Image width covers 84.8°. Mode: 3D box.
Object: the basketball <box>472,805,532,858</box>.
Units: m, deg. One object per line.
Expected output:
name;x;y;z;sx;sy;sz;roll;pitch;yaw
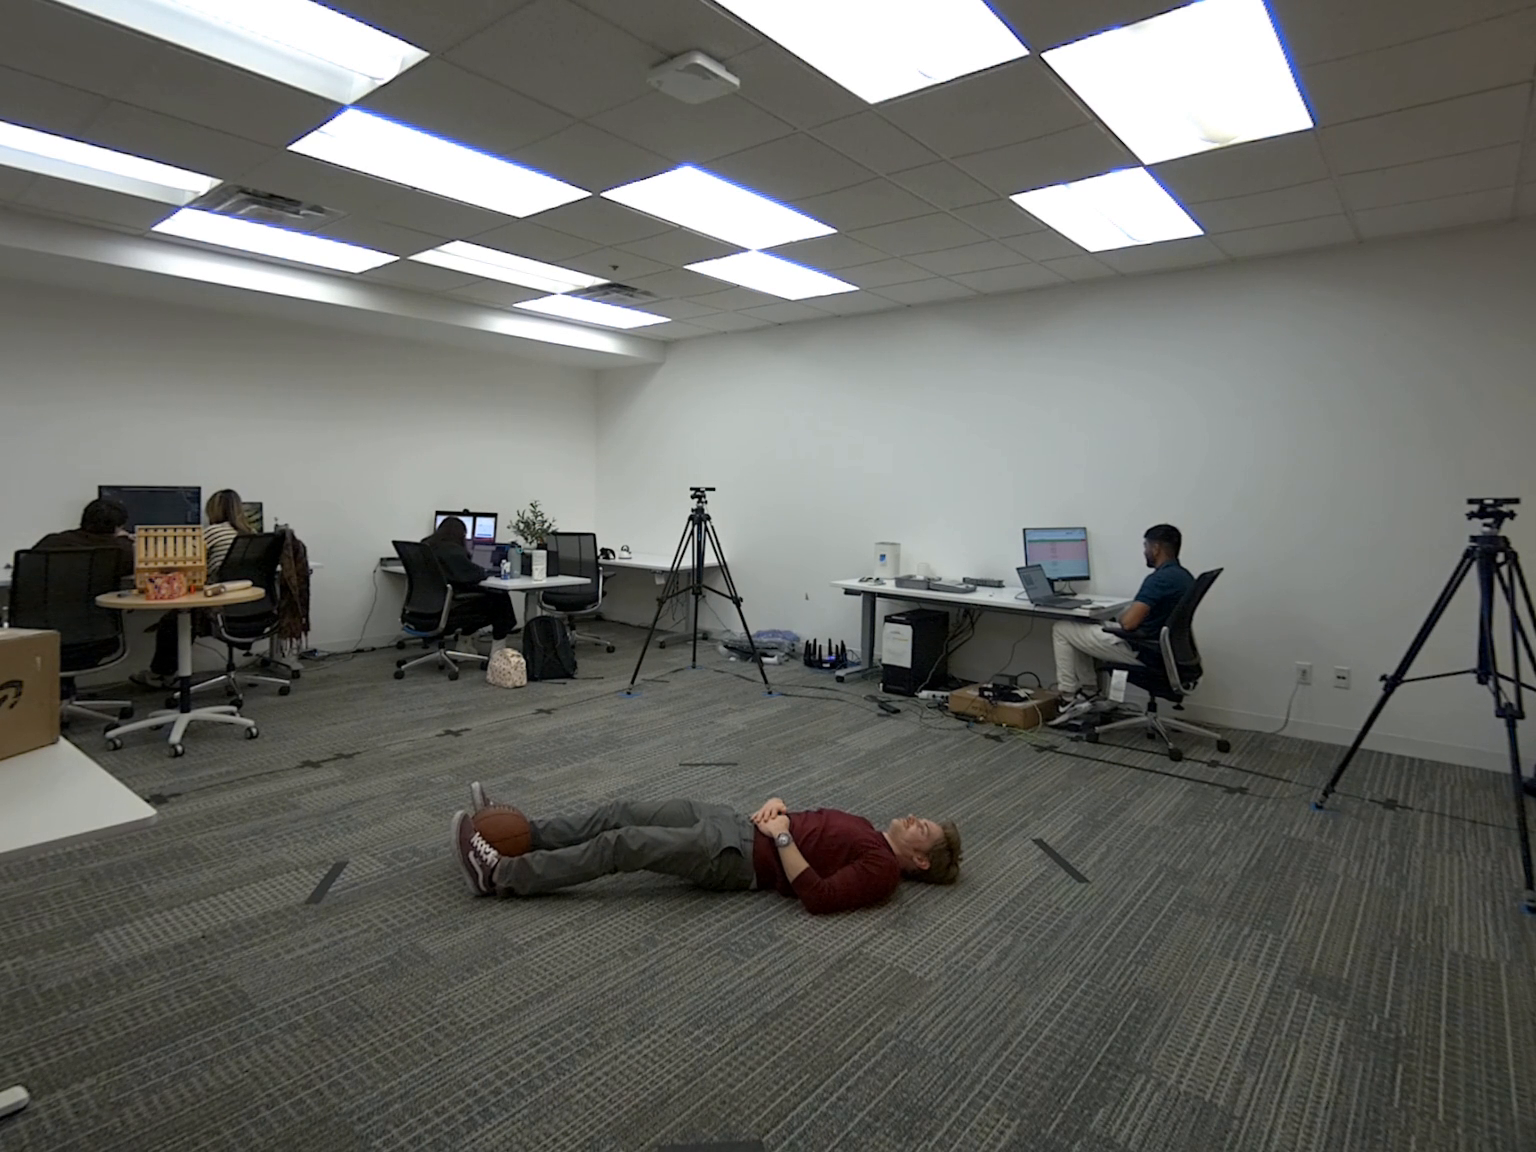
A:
basketball;-0.973;0.929;3.019;0.236;0.235;0.237;-3;3;-2
